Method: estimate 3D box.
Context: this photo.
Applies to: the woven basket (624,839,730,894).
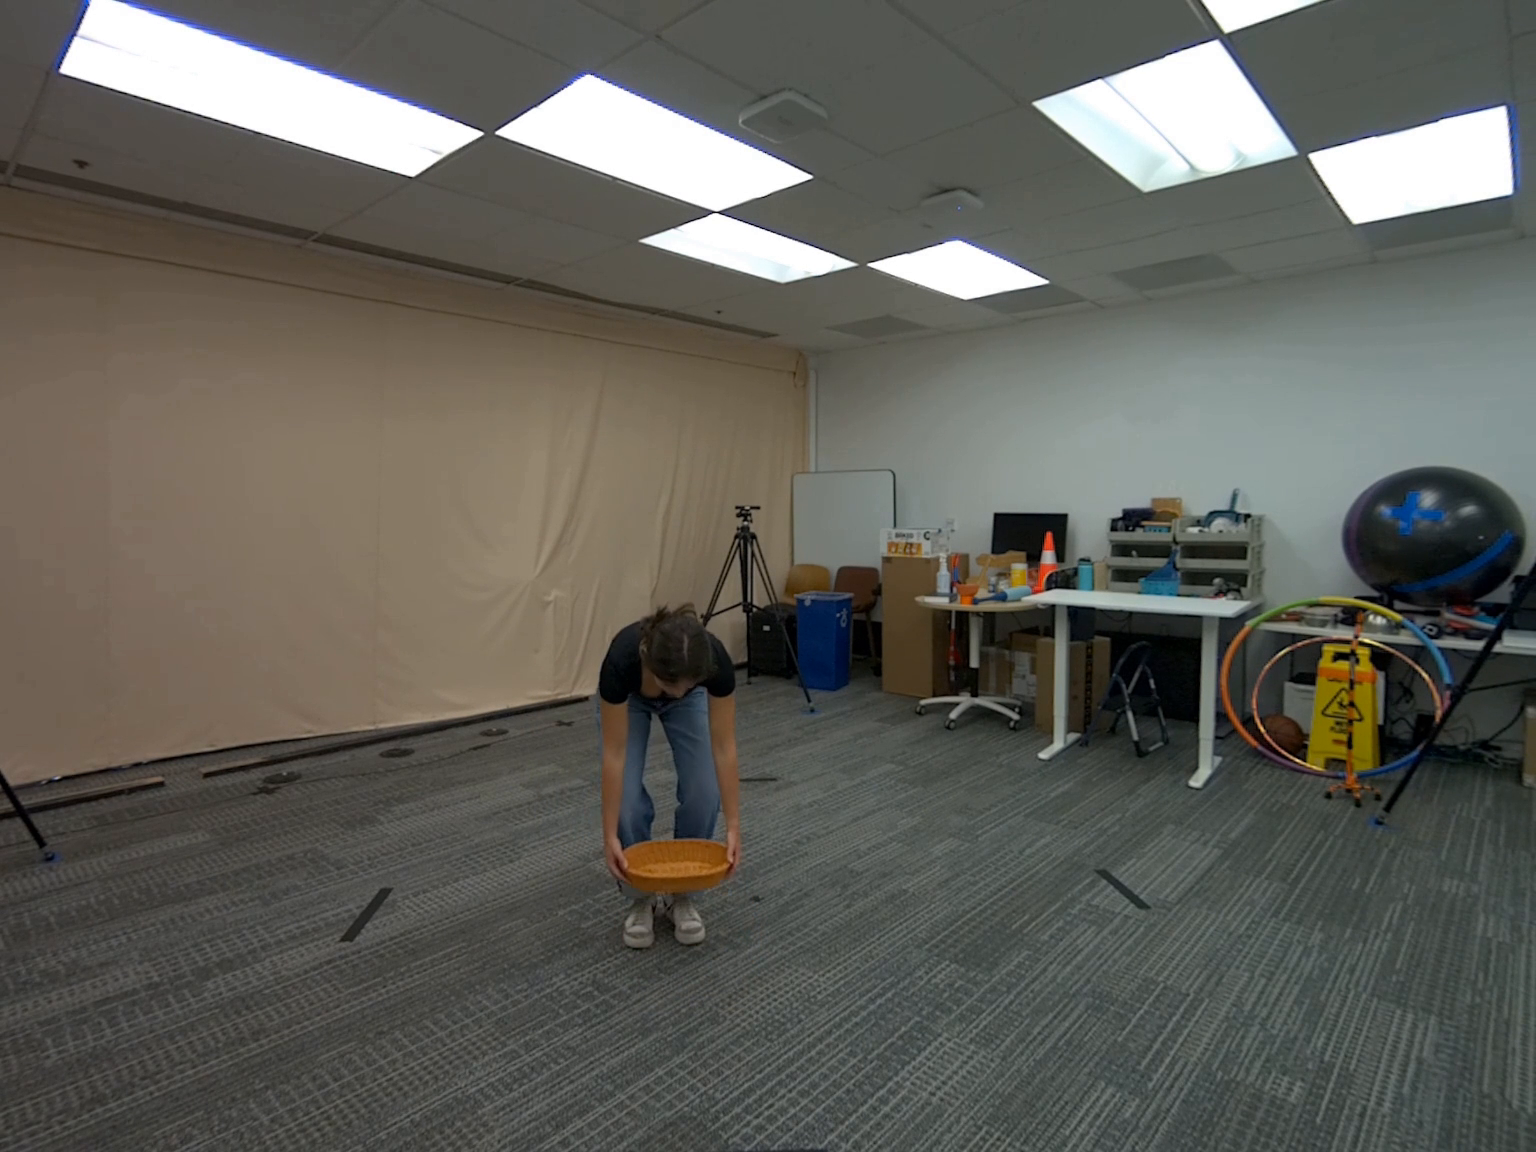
[{"bbox_3d":[-0.267,0.880,2.531,0.348,0.073,0.255,-1,8,-6],"label":"woven basket"}]
